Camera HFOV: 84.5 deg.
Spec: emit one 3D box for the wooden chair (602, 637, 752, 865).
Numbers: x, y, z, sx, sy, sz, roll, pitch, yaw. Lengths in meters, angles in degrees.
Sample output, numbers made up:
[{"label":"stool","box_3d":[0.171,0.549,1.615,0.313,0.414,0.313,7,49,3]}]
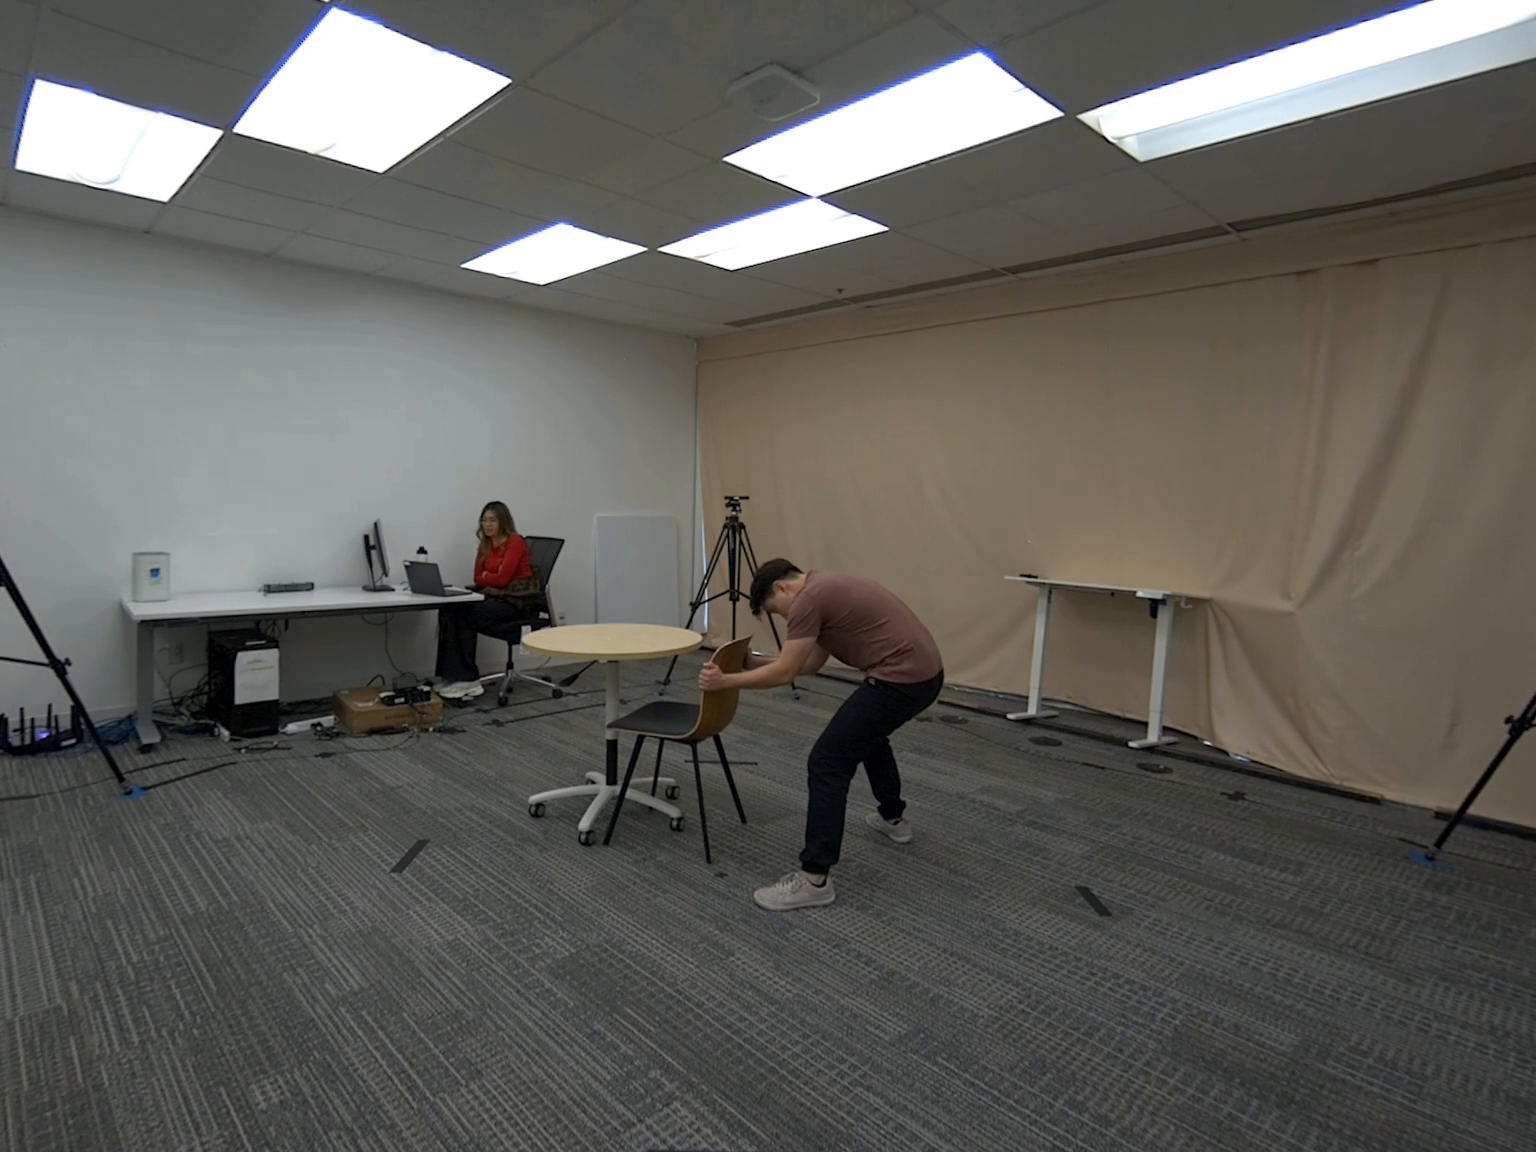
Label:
[{"label":"wooden chair","box_3d":[-0.369,0.640,3.439,0.532,0.874,0.472,7,5,19]}]
